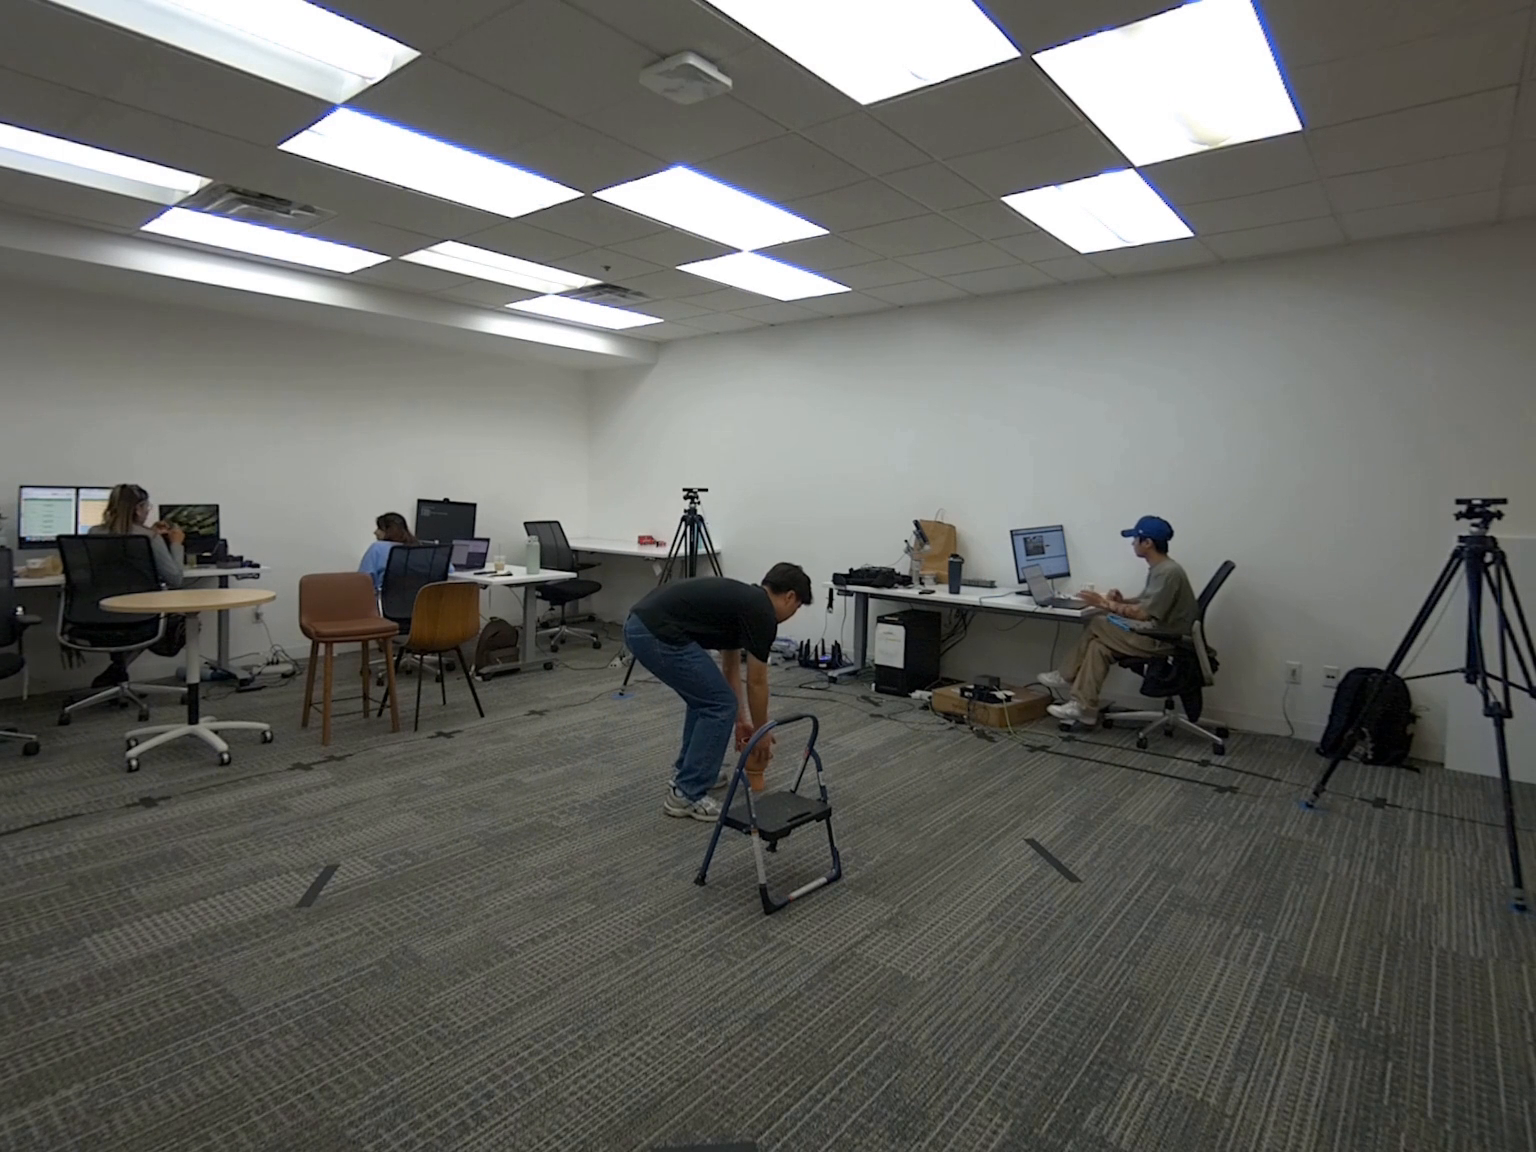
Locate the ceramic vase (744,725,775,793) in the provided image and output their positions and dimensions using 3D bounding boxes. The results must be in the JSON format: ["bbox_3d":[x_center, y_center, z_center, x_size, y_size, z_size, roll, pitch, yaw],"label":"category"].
[{"bbox_3d":[-0.070,0.875,3.991,0.164,0.219,0.130,5,3,39],"label":"ceramic vase"}]
